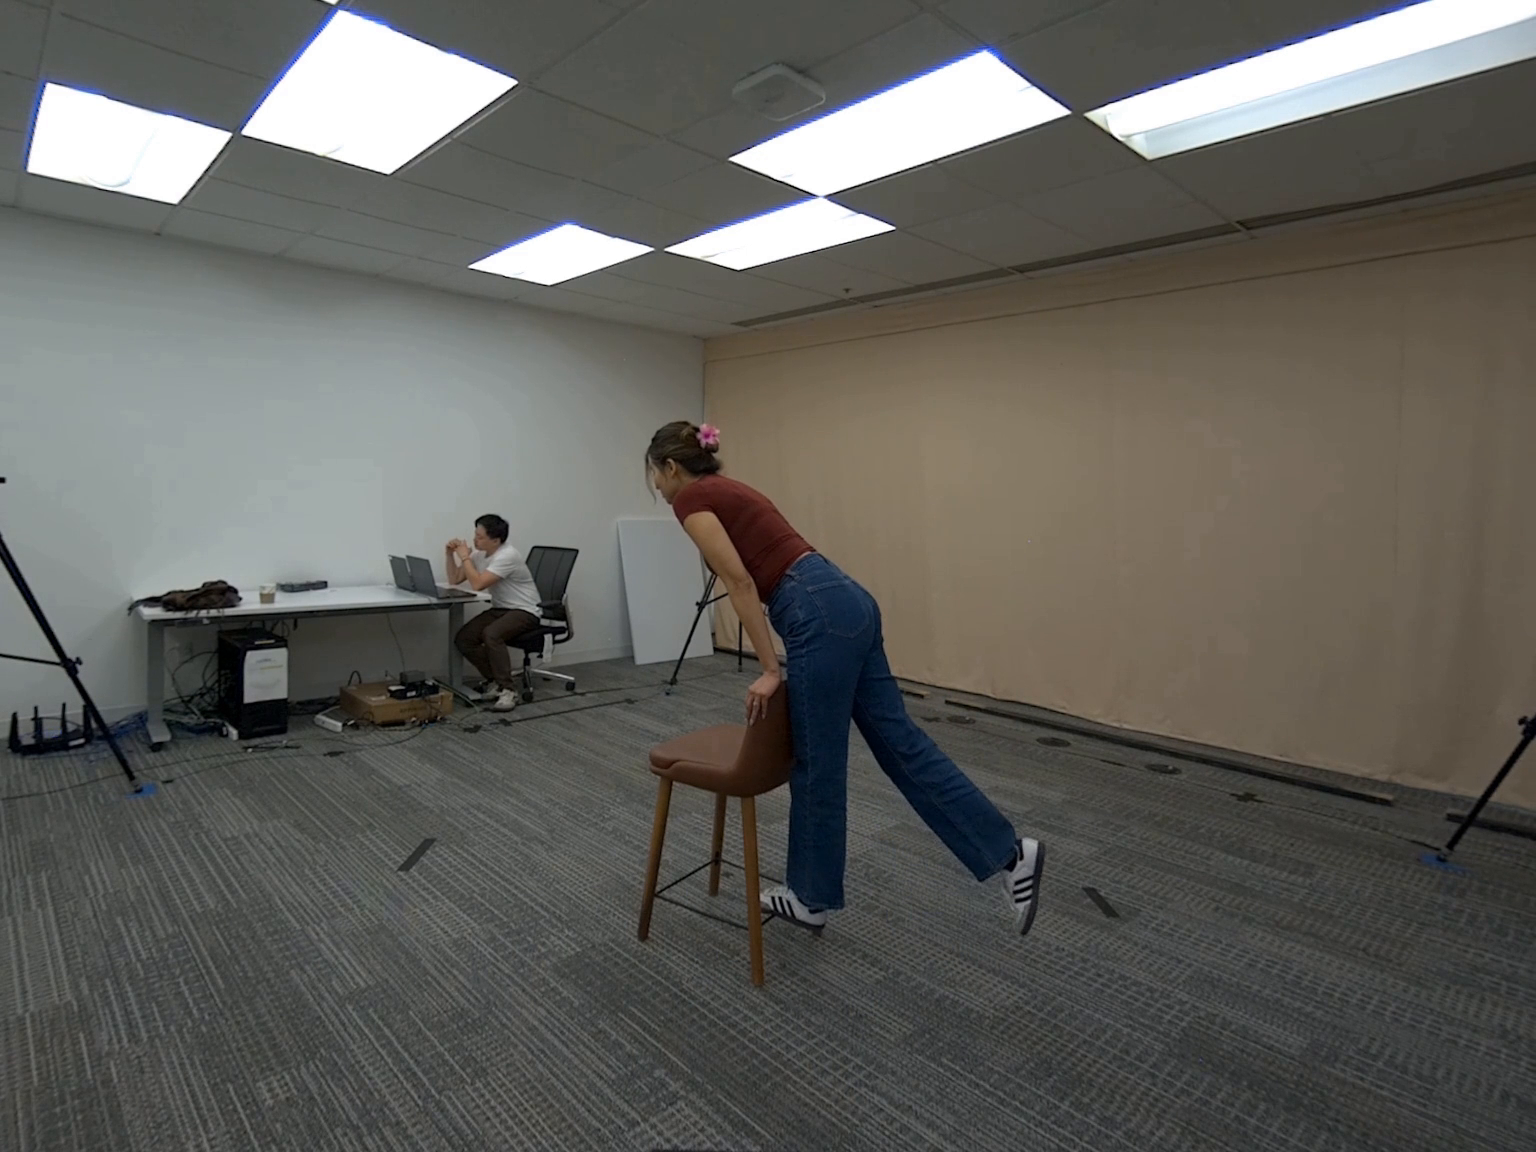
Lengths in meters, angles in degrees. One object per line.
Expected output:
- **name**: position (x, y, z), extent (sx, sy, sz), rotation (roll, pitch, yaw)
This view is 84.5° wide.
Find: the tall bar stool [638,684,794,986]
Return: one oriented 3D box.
- **tall bar stool**: position (-0.100, 0.710, 2.642), extent (0.479, 0.886, 0.447), rotation (6, 6, 34)
